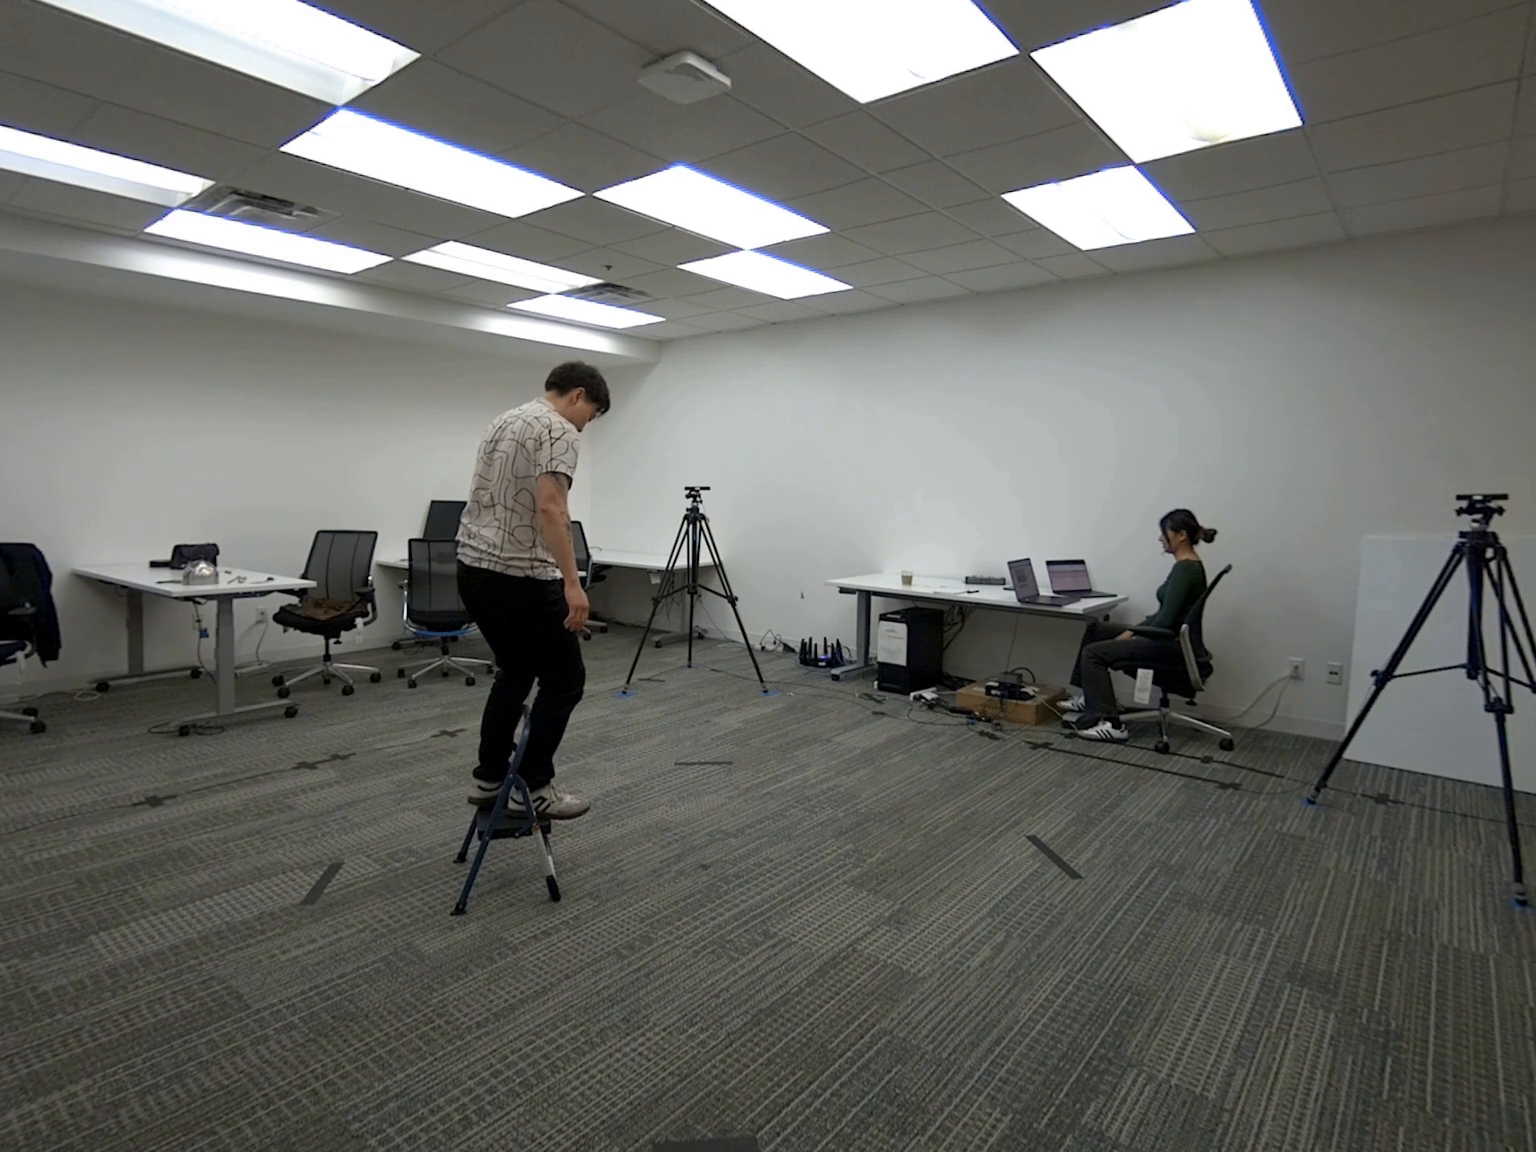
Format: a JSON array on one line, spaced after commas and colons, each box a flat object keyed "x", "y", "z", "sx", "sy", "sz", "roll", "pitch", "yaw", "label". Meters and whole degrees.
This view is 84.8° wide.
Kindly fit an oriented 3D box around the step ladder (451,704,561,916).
[{"x": -0.933, "y": 0.775, "z": 2.971, "sx": 0.343, "sy": 0.604, "sz": 0.440, "roll": -1, "pitch": 4, "yaw": -19, "label": "step ladder"}]
